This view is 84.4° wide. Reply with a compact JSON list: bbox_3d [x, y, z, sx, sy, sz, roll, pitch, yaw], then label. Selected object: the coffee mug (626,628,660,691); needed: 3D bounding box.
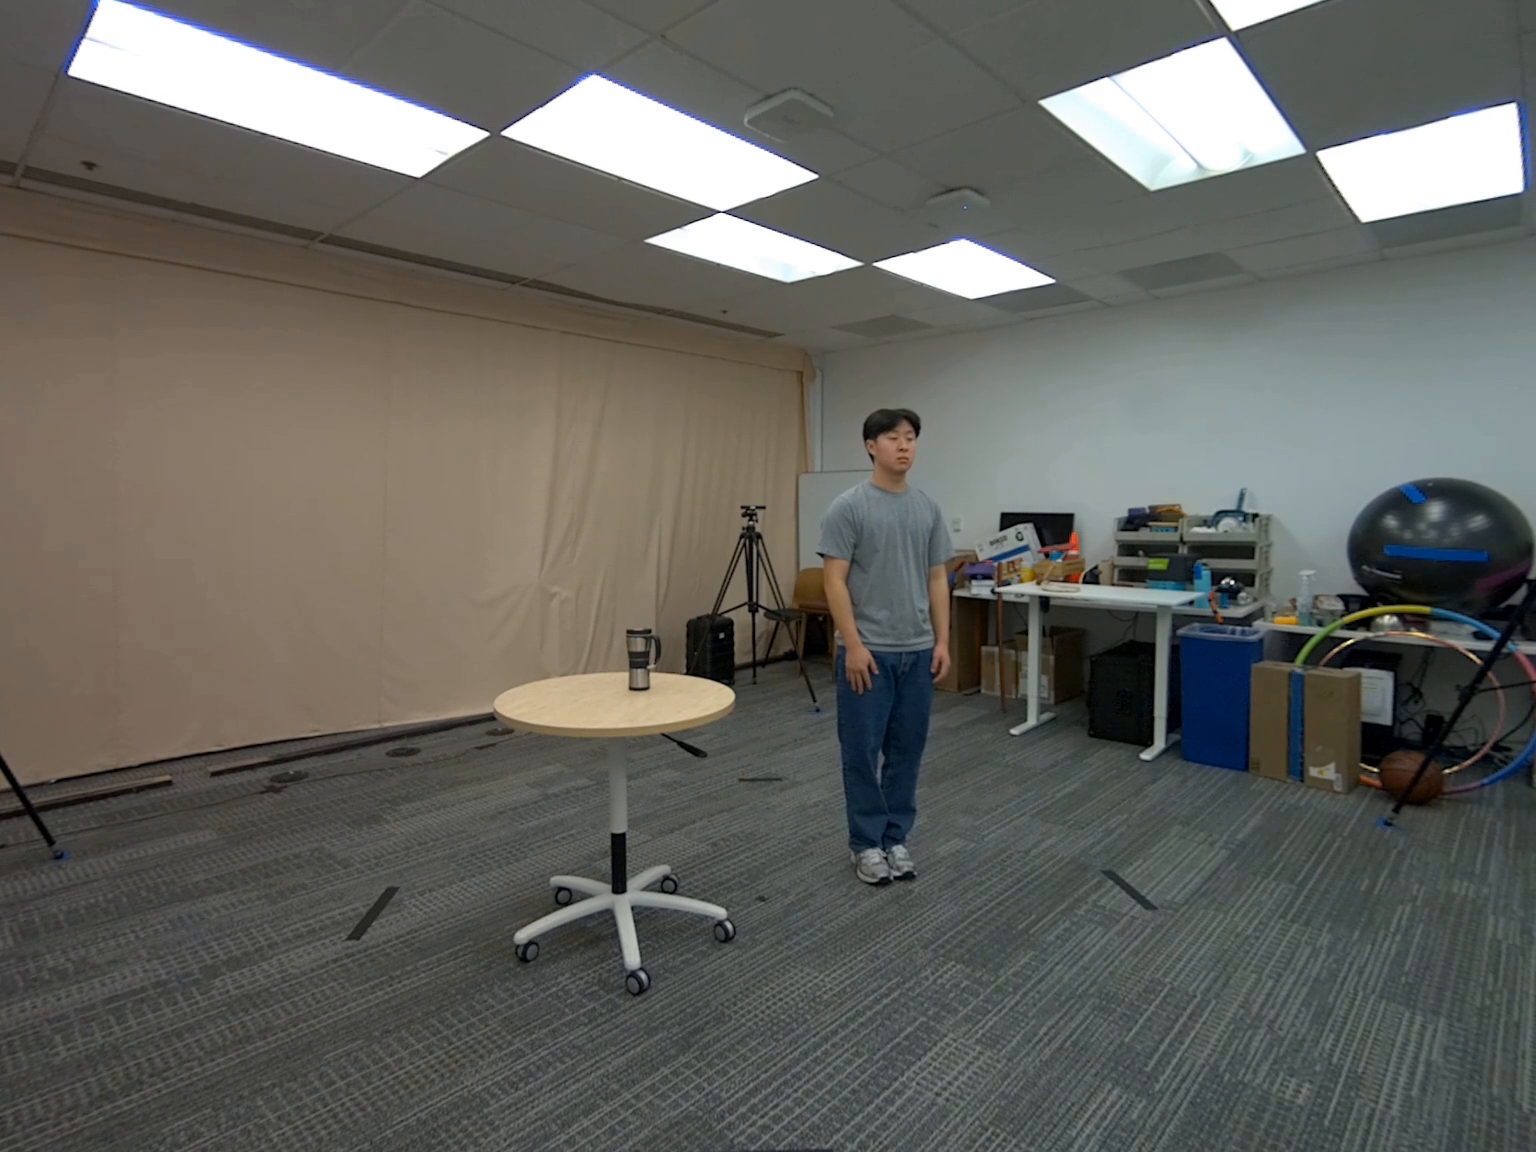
[{"bbox_3d":[-0.415,0.282,2.783,0.085,0.203,0.126,2,-1,-45],"label":"coffee mug"}]
